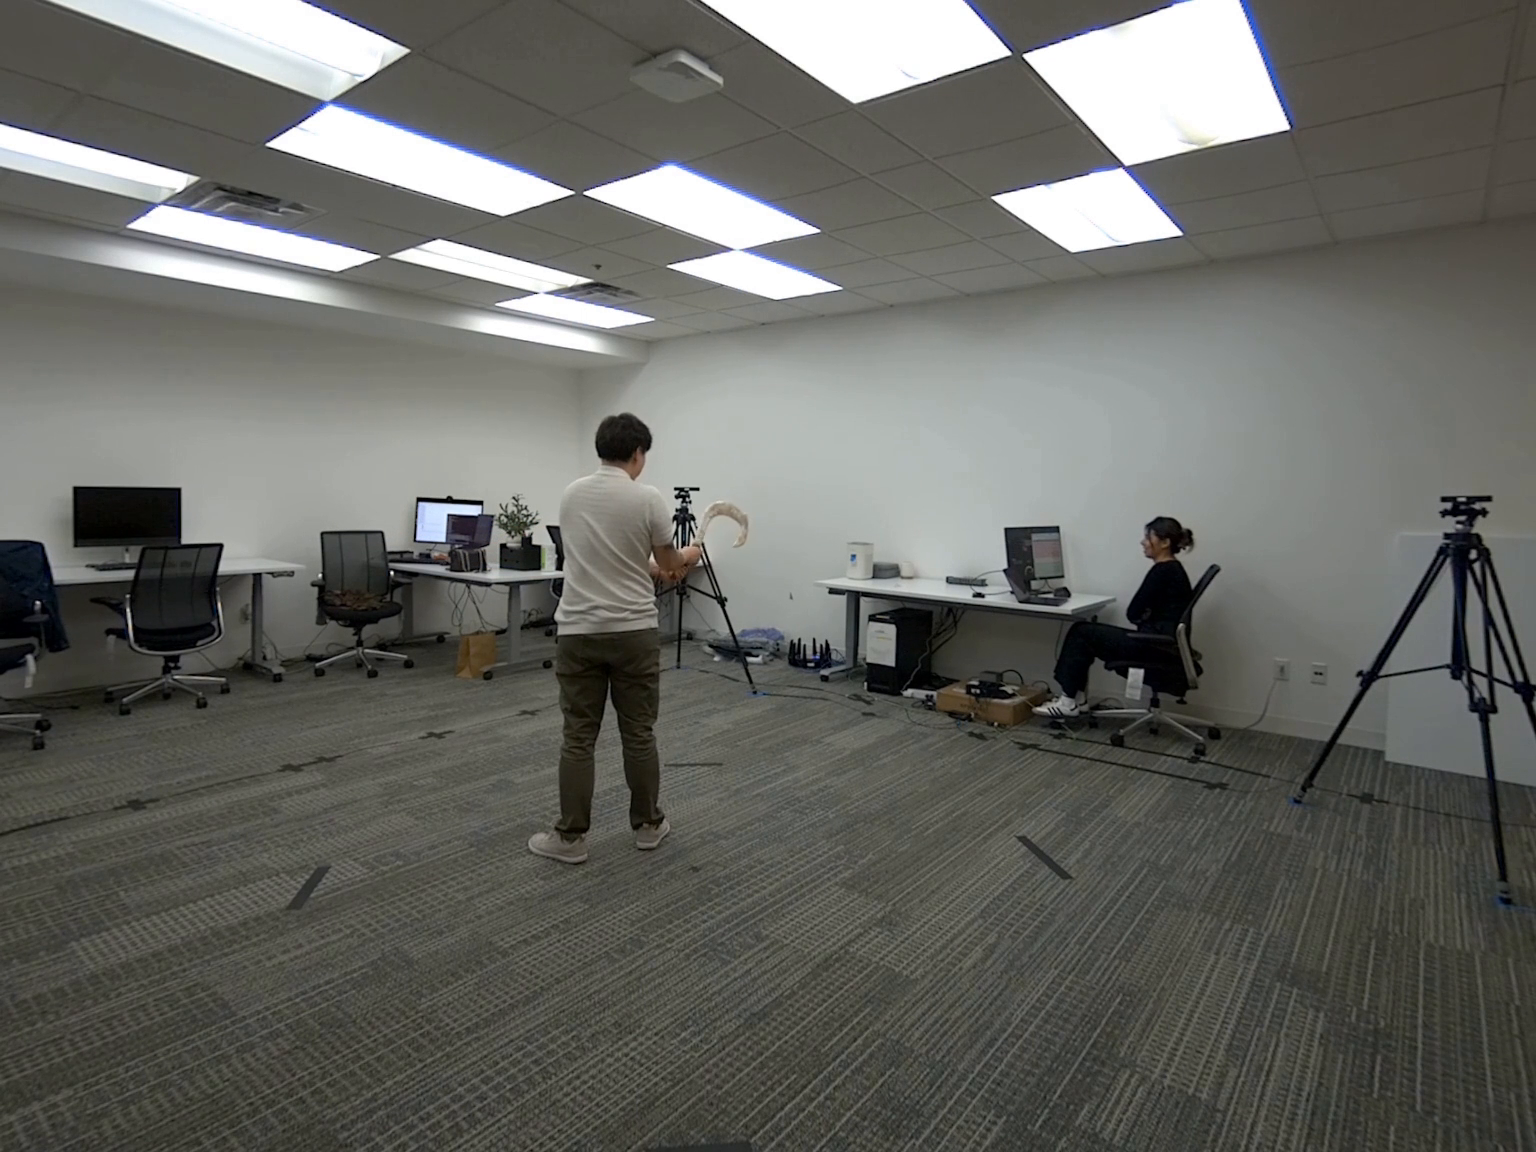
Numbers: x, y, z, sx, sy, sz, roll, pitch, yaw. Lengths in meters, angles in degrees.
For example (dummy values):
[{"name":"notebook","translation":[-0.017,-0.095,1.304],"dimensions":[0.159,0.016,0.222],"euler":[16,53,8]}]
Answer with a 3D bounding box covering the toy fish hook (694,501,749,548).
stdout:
[{"name":"toy fish hook","translation":[-0.255,-0.132,3.675],"dimensions":[0.226,0.509,0.048],"euler":[31,-35,5]}]
